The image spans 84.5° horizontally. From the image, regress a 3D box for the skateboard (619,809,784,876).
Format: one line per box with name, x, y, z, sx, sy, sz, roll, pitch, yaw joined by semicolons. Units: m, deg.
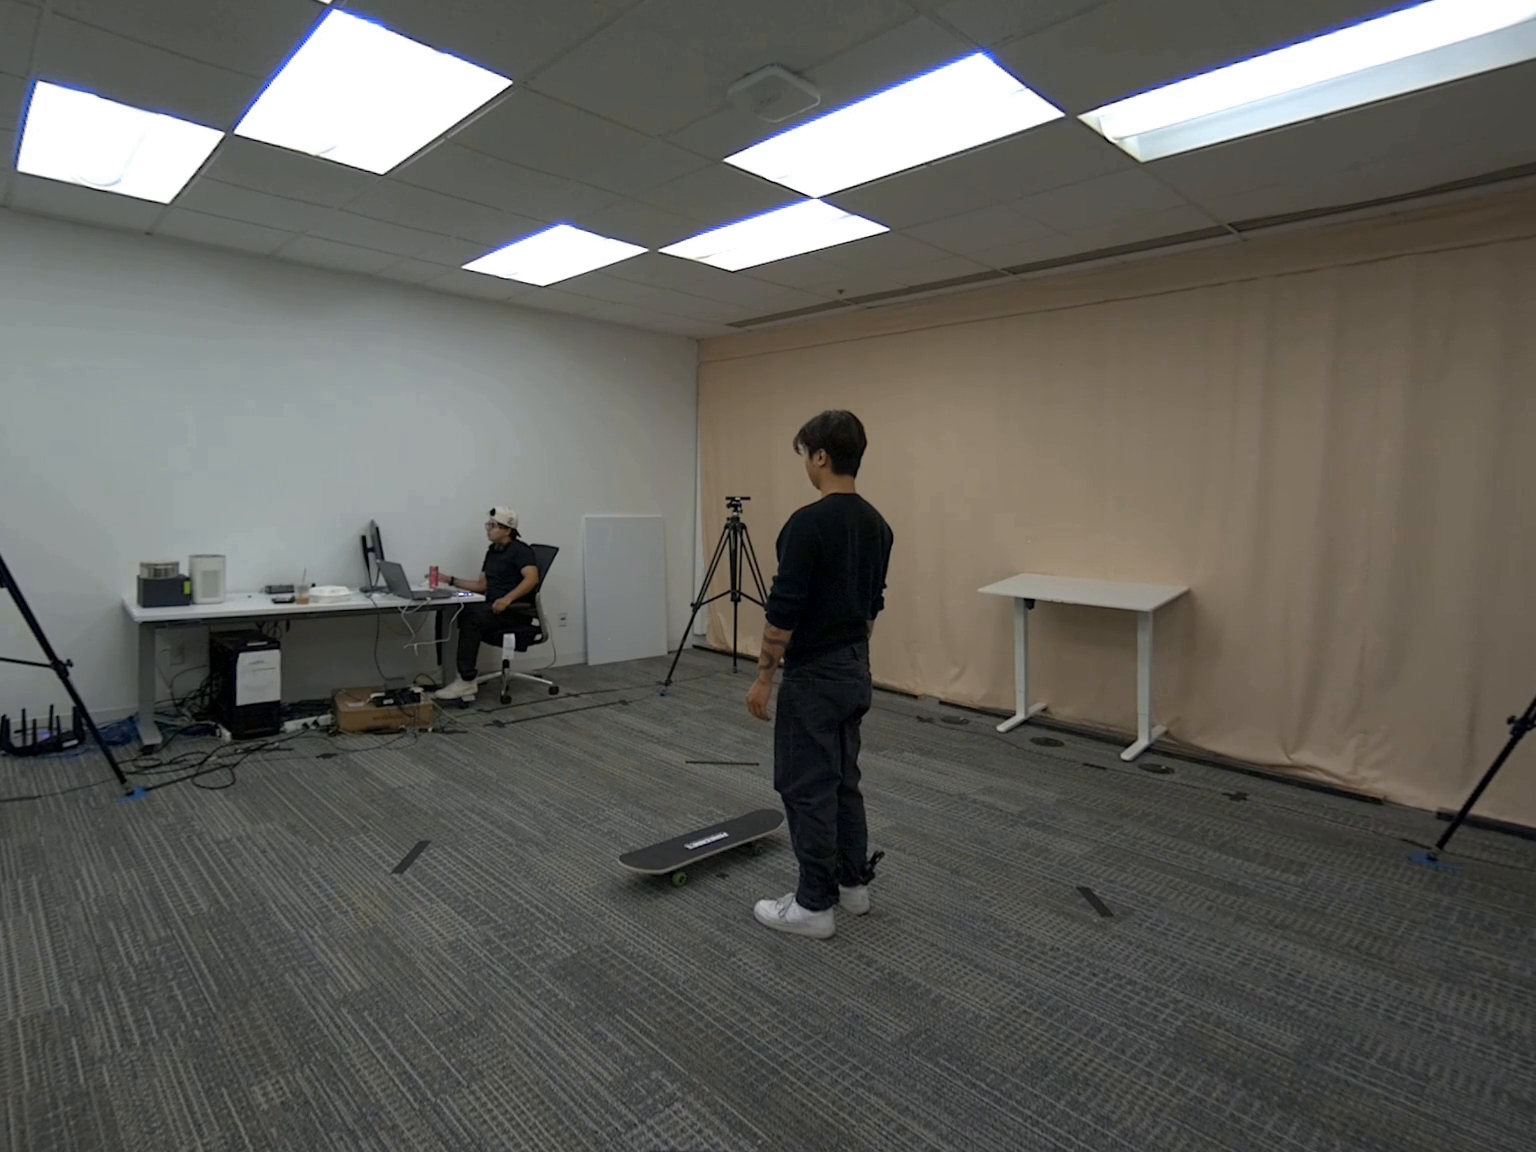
skateboard;-0.243;1.035;3.209;0.198;0.110;0.767;6;7;45
